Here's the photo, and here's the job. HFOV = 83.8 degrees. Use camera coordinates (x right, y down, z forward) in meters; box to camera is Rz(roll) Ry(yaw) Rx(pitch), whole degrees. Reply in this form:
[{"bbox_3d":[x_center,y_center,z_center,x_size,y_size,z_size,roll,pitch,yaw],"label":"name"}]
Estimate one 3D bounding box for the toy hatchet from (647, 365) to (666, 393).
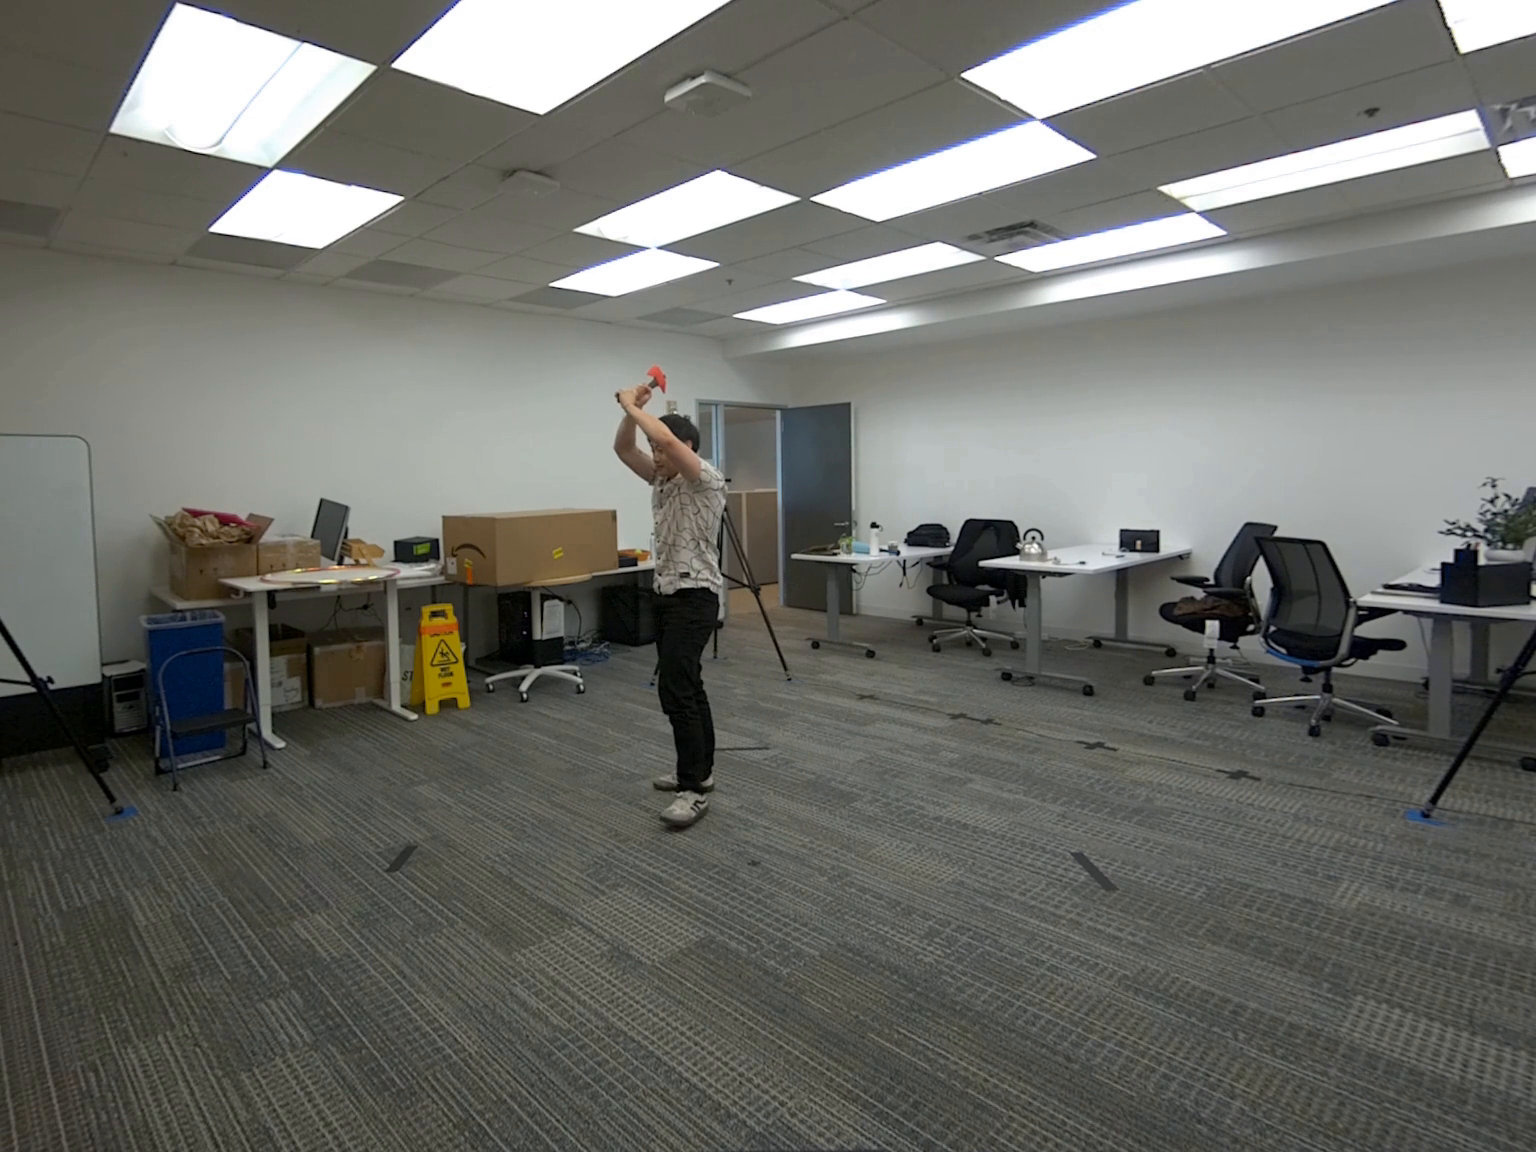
[{"bbox_3d":[-0.530,-0.814,3.598,0.265,0.128,0.031,-22,31,-40],"label":"toy hatchet"}]
